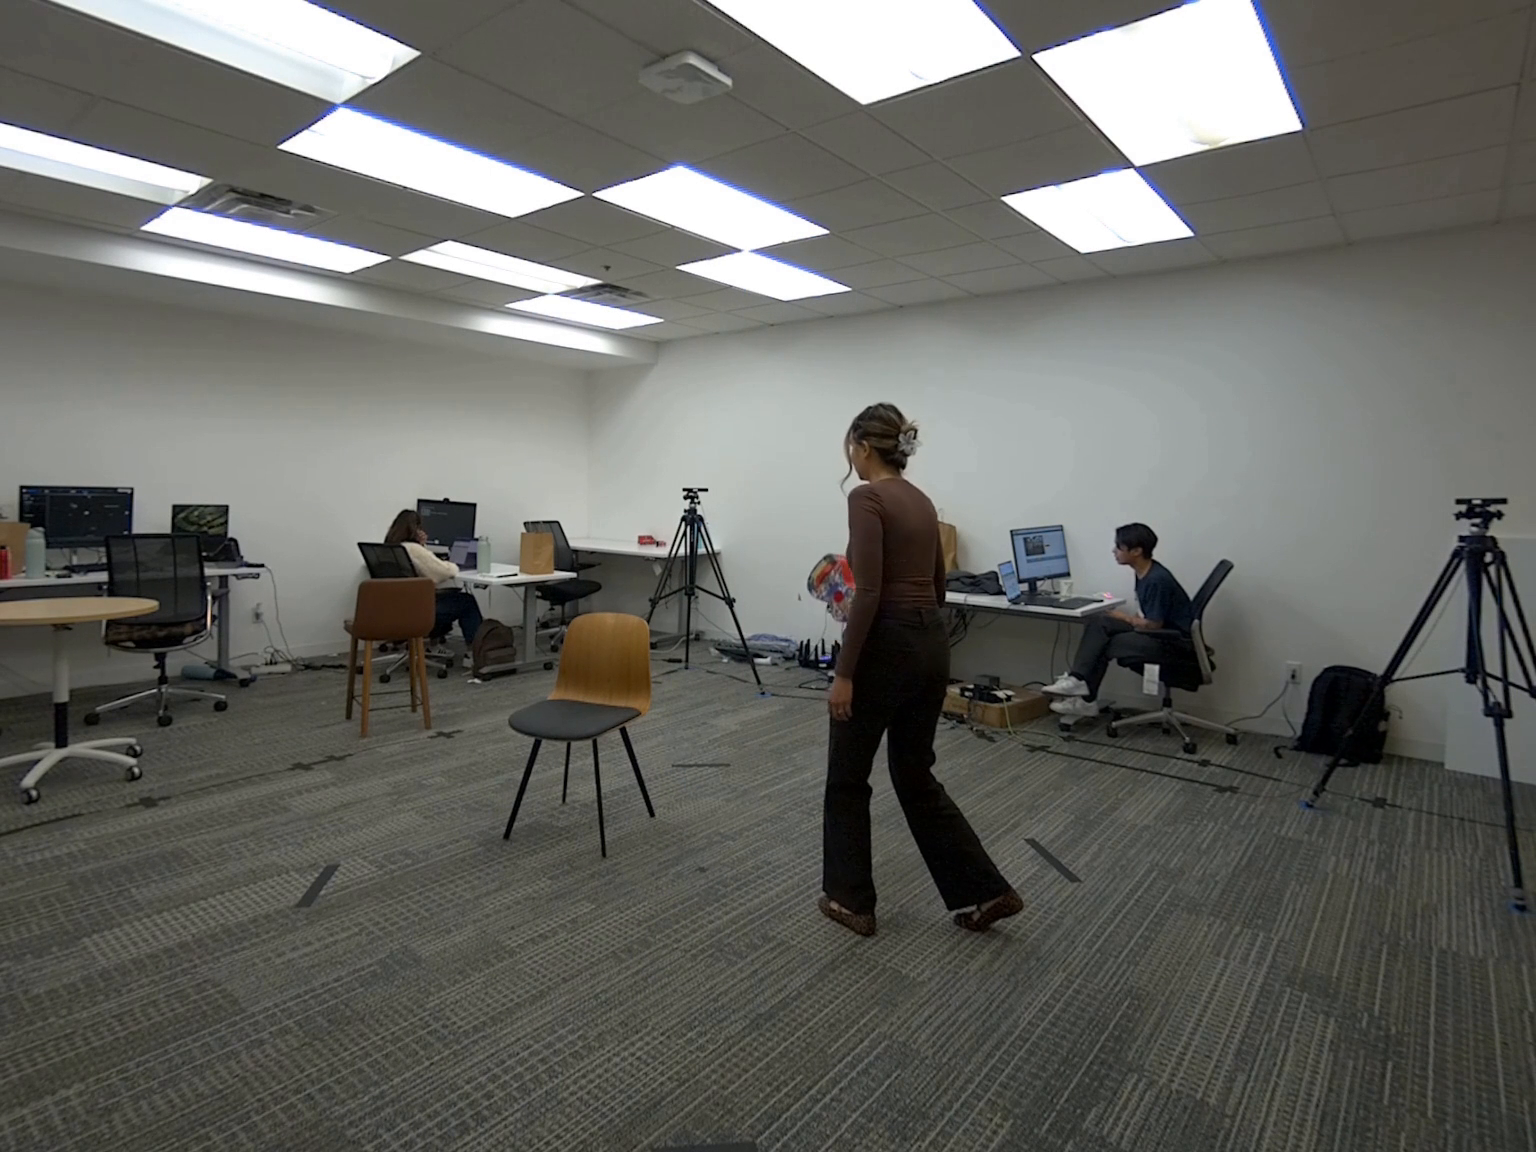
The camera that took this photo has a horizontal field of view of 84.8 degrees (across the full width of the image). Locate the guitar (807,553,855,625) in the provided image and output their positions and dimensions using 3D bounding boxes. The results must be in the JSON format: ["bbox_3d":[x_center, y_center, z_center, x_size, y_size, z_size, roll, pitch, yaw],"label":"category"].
[{"bbox_3d":[0.299,0.146,3.174,0.068,0.516,0.193,9,-45,-42],"label":"guitar"}]
